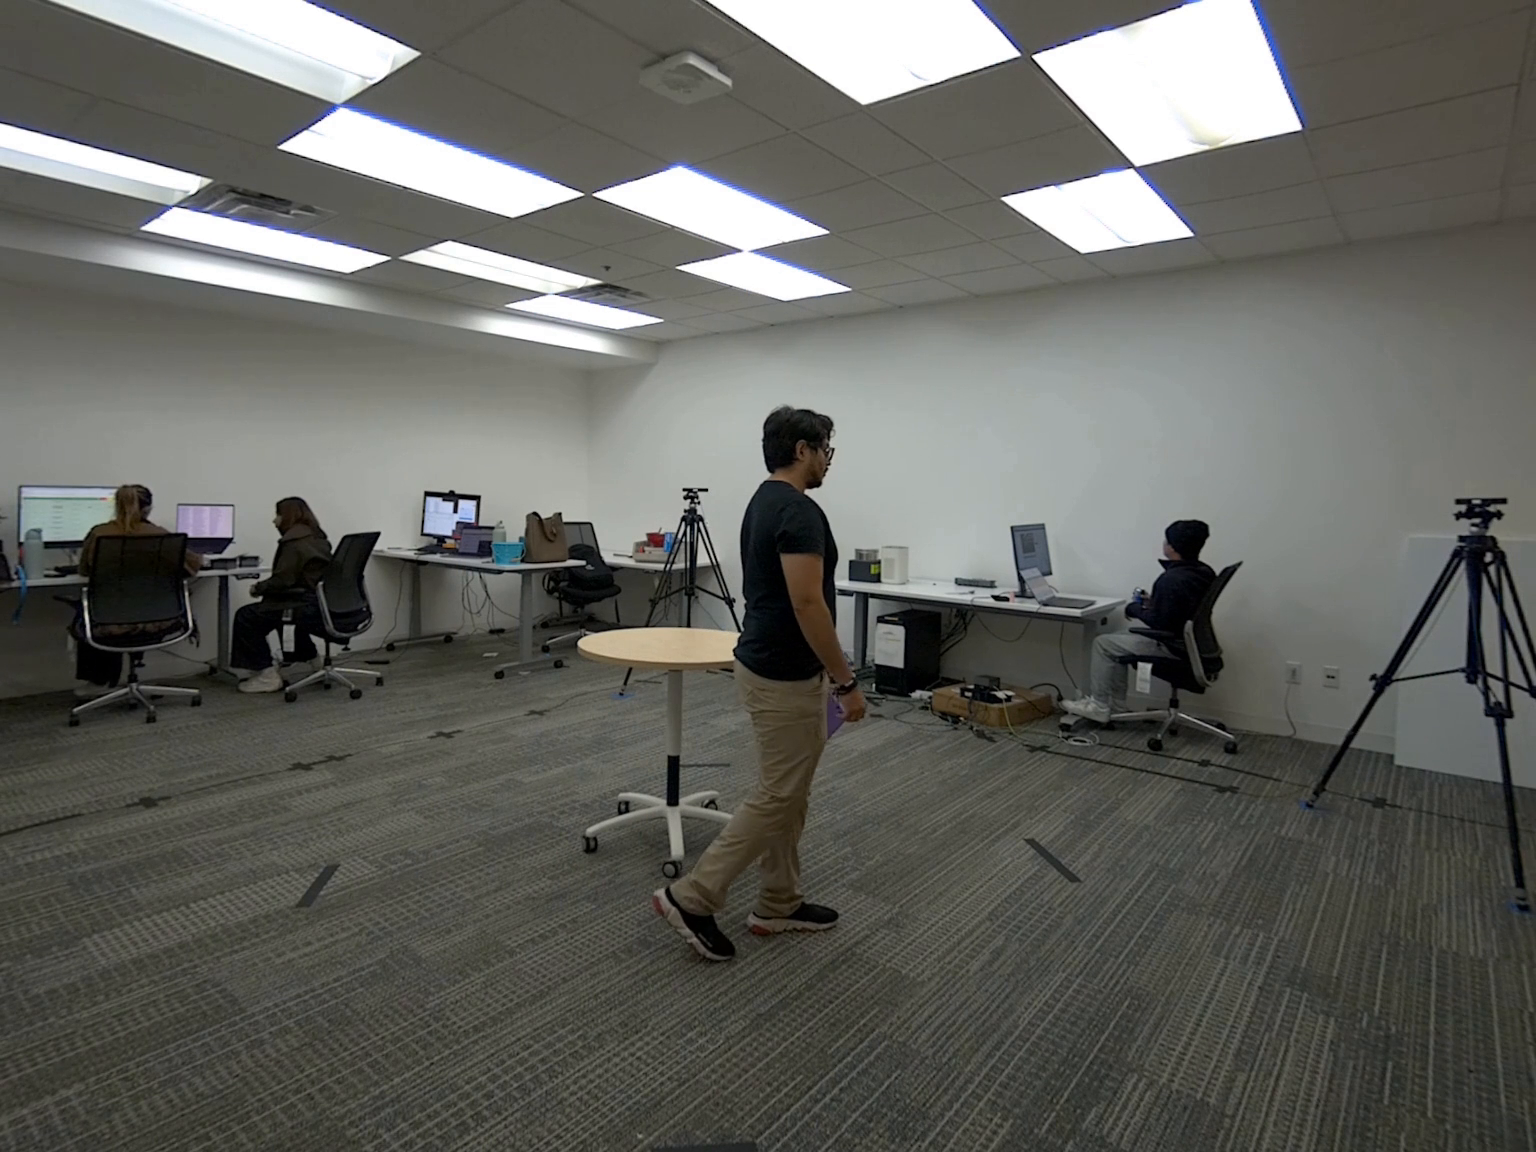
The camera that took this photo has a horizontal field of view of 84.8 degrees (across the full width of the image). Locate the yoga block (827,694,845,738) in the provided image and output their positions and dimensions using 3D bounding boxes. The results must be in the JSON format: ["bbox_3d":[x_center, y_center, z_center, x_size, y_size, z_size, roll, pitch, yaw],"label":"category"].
[{"bbox_3d":[0.147,0.446,2.958,0.148,0.229,0.077,-38,2,-29],"label":"yoga block"}]
